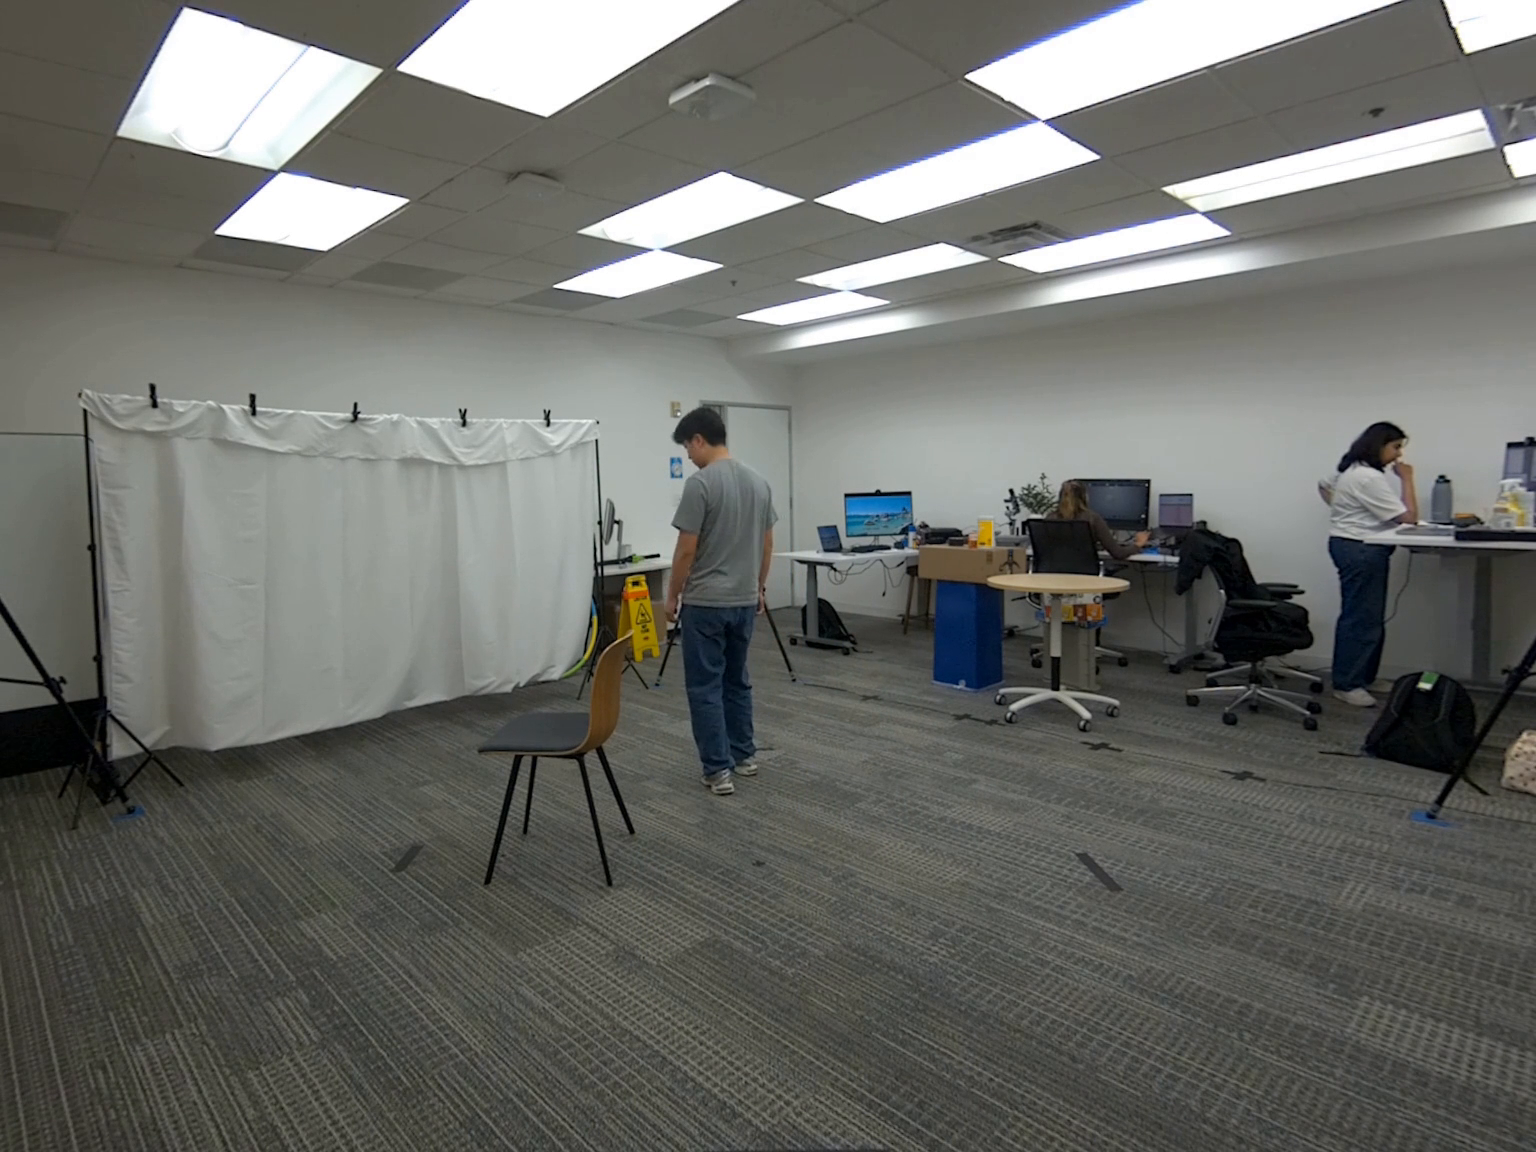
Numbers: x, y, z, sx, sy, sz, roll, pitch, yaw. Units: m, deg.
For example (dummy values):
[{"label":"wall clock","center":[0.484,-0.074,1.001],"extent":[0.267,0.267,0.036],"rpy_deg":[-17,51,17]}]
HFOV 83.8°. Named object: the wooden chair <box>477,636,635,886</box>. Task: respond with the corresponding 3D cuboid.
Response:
[{"label":"wooden chair","center":[-0.778,0.633,3.147],"extent":[0.525,0.874,0.479],"rpy_deg":[2,5,2]}]
